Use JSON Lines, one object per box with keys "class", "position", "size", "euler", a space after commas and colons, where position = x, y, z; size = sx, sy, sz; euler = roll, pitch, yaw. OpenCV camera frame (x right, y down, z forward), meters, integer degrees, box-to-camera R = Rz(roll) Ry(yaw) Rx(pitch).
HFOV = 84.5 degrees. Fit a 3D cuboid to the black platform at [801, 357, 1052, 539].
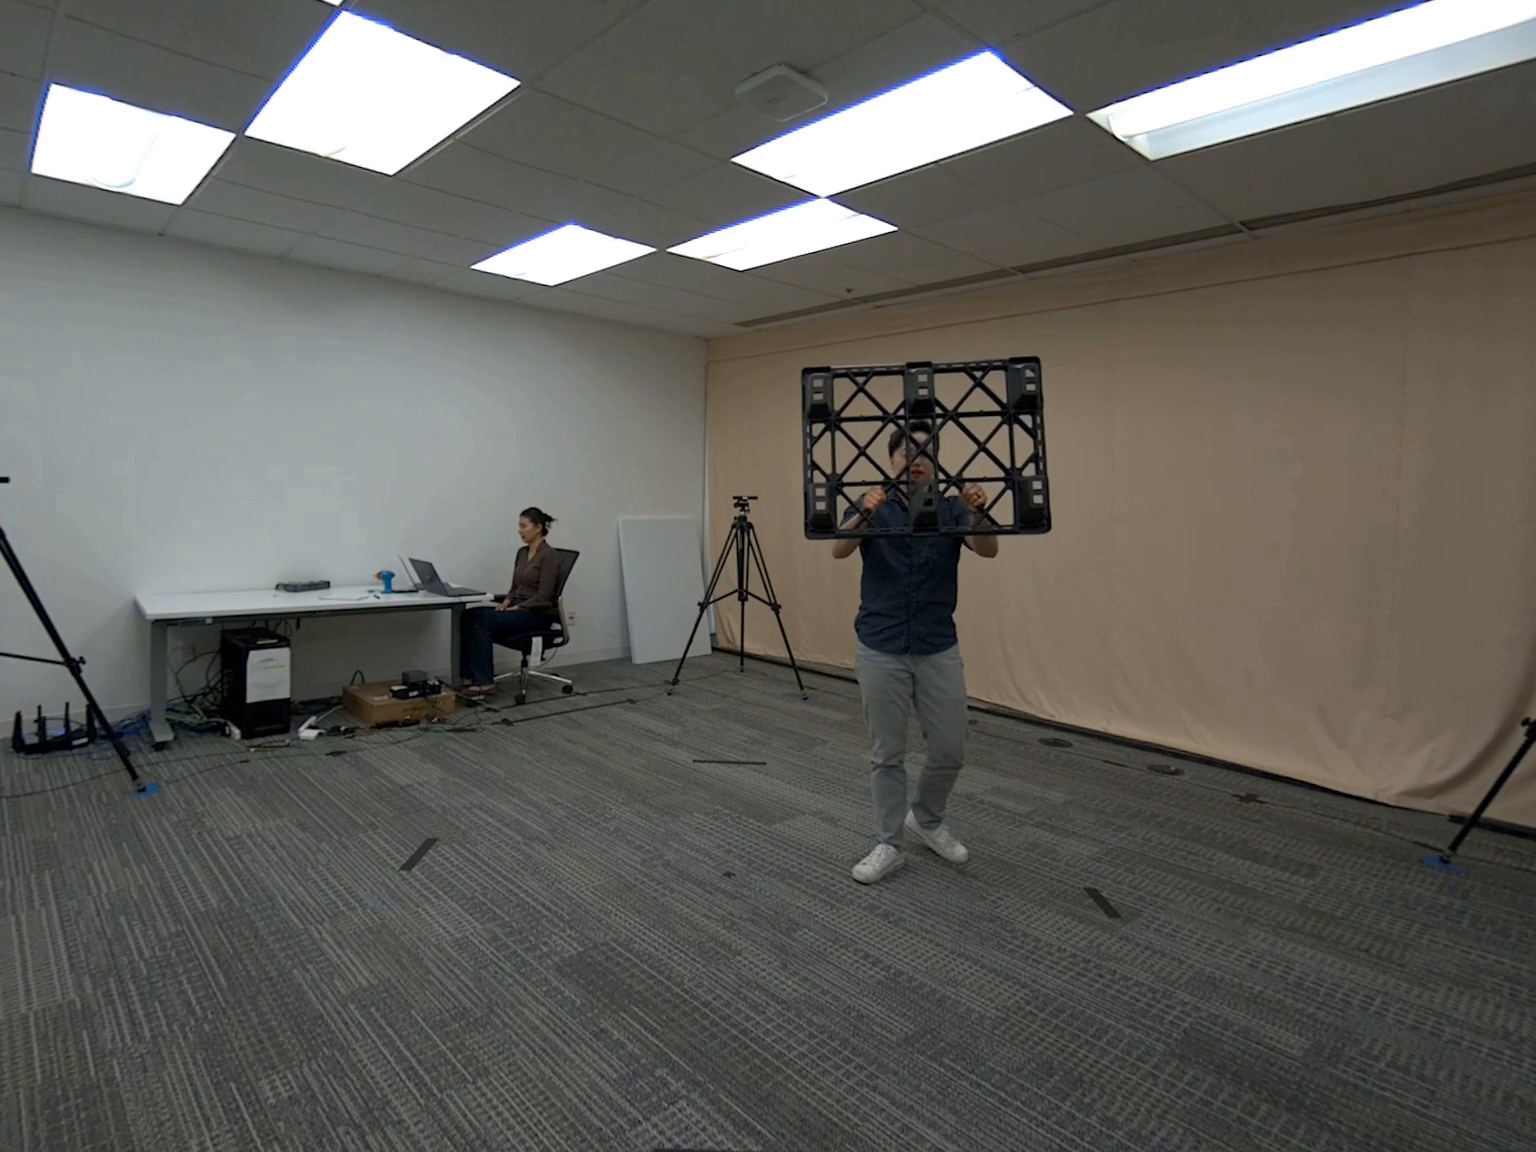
{"class": "black platform", "position": [0.515, -0.434, 2.778], "size": [0.810, 0.608, 0.142], "euler": [-1, -7, 7]}
